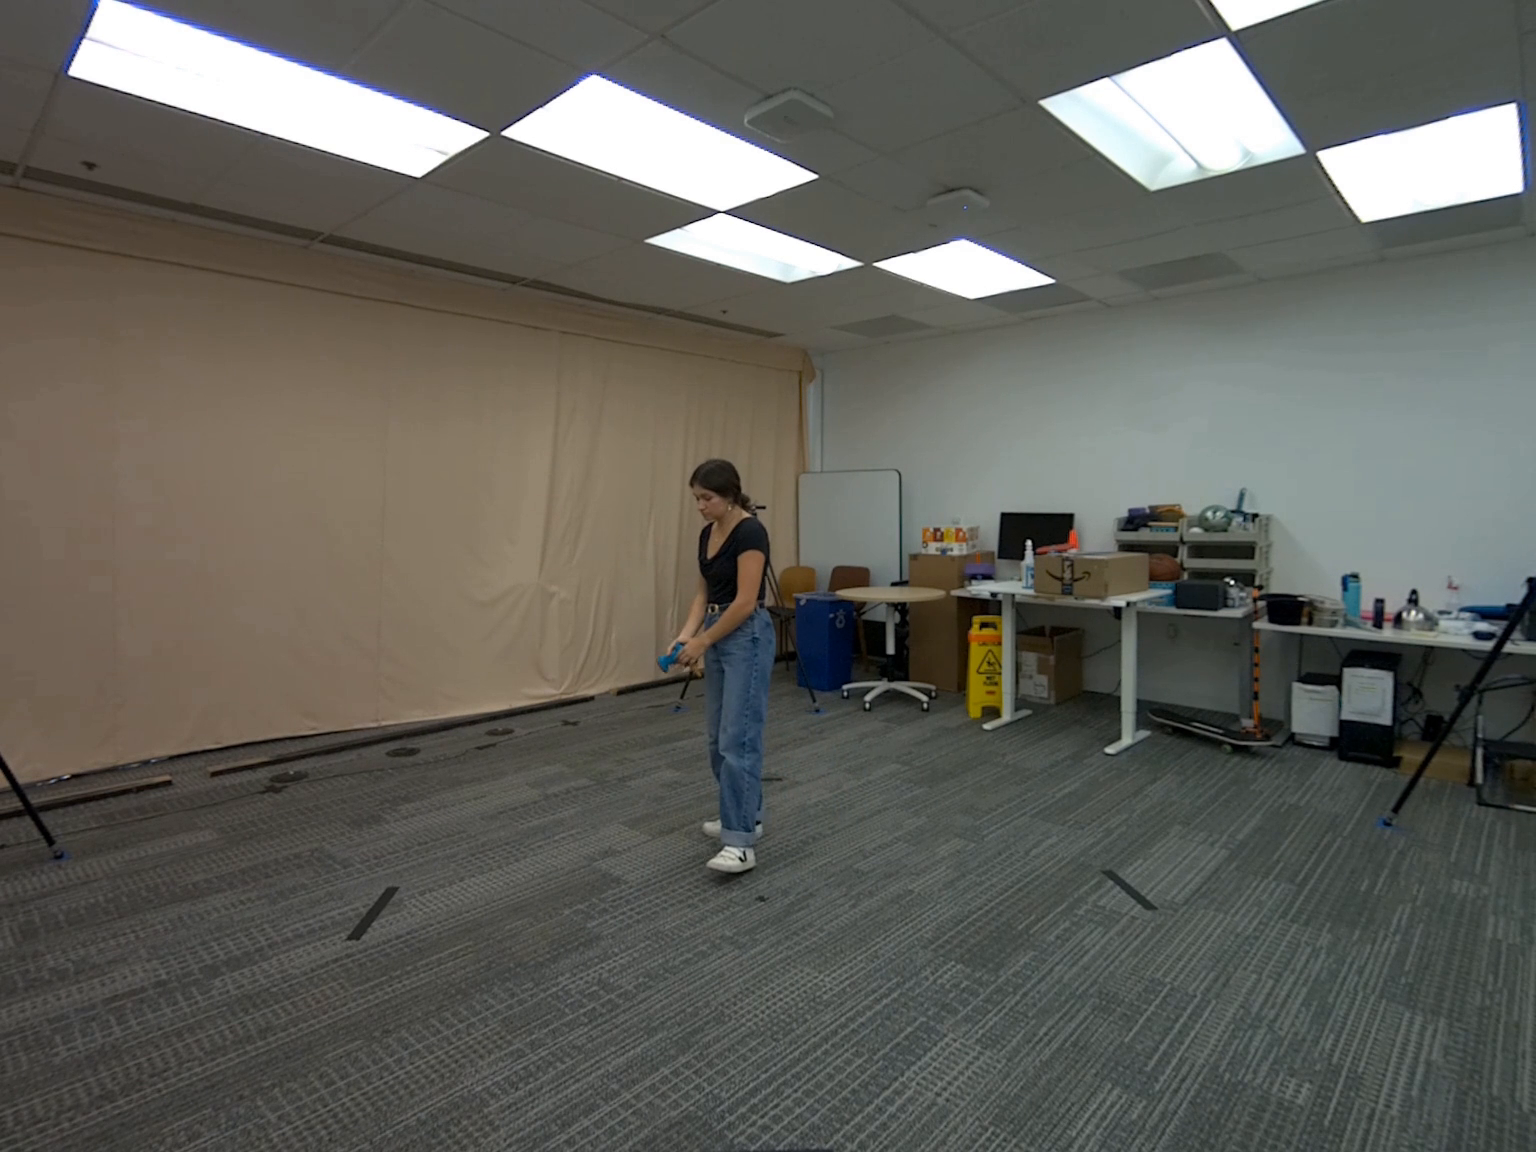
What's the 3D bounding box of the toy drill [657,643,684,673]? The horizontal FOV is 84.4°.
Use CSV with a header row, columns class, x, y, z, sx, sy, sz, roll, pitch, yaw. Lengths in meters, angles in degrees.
class,x,y,z,sx,sy,sz,roll,pitch,yaw
toy drill,-0.356,0.359,3.407,0.147,0.169,0.061,-28,2,7
